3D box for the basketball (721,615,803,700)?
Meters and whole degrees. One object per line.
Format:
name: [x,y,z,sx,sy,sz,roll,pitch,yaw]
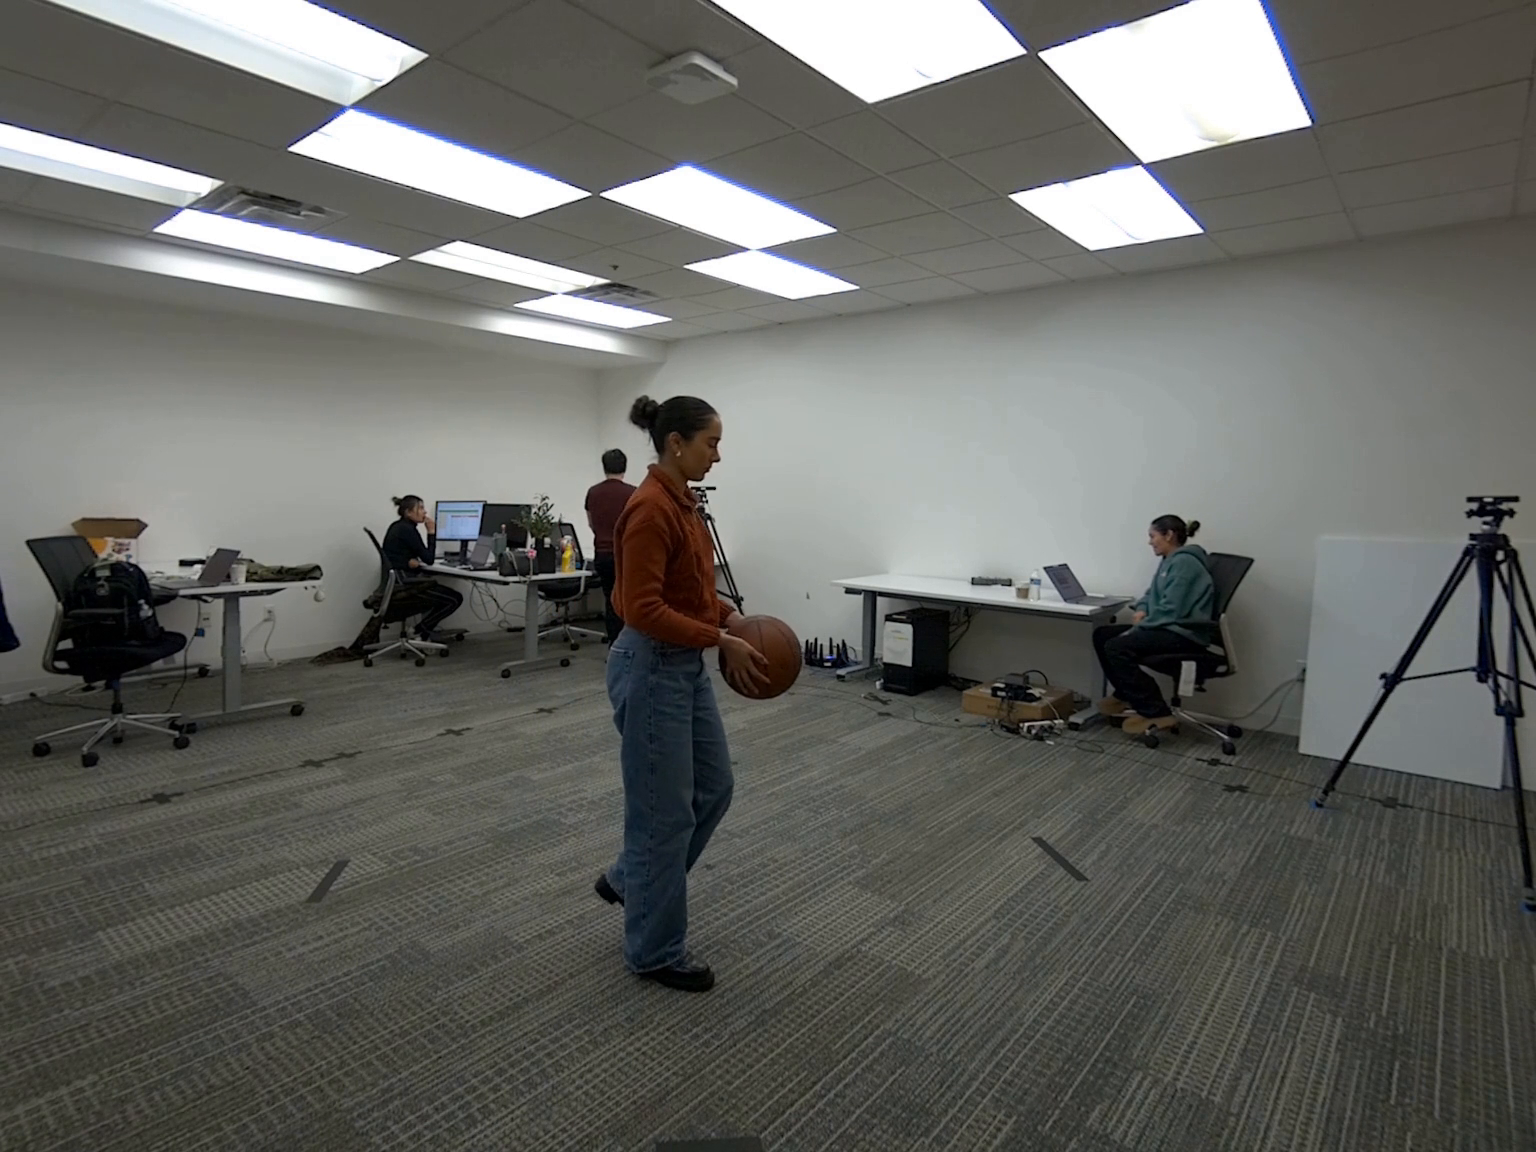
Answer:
basketball: [-0.030,0.221,2.389,0.236,0.235,0.237,1,4,-2]
